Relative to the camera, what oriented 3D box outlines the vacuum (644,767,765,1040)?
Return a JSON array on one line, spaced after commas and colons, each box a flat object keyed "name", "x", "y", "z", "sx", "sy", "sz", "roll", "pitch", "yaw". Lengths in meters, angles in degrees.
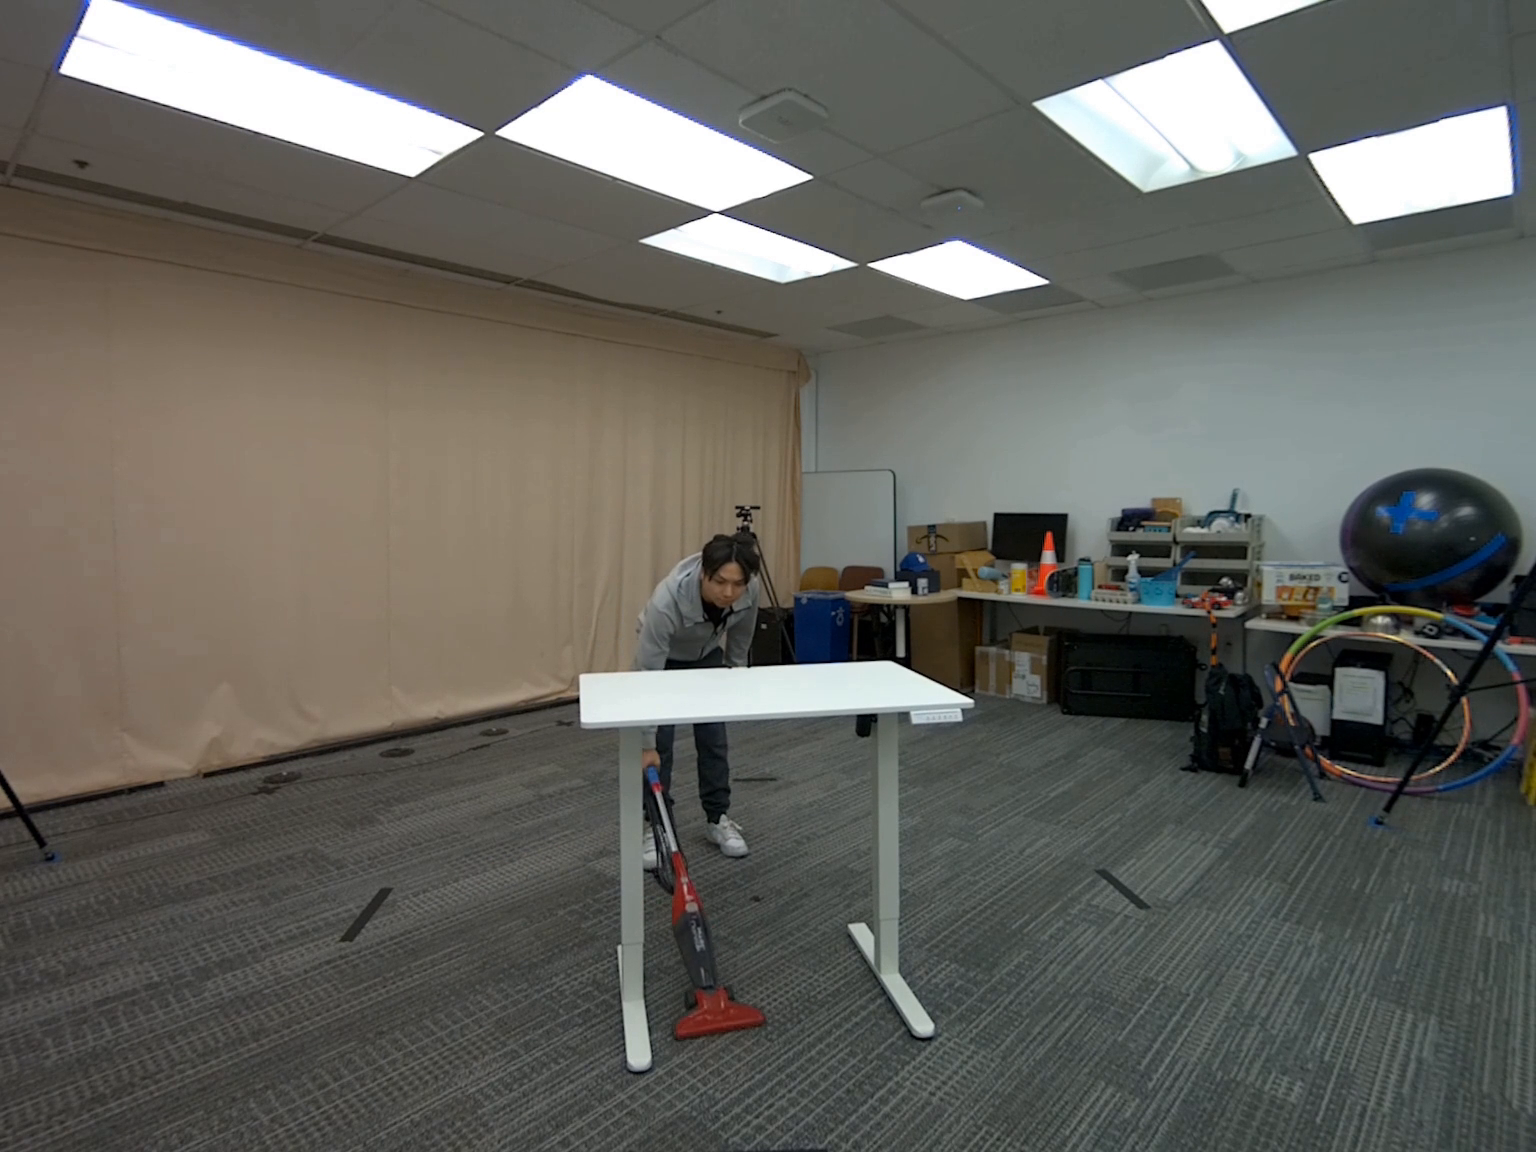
[{"name": "vacuum", "x": -0.300, "y": 0.929, "z": 2.747, "sx": 0.247, "sy": 0.143, "sz": 1.080, "roll": 4, "pitch": 26, "yaw": -21}]
